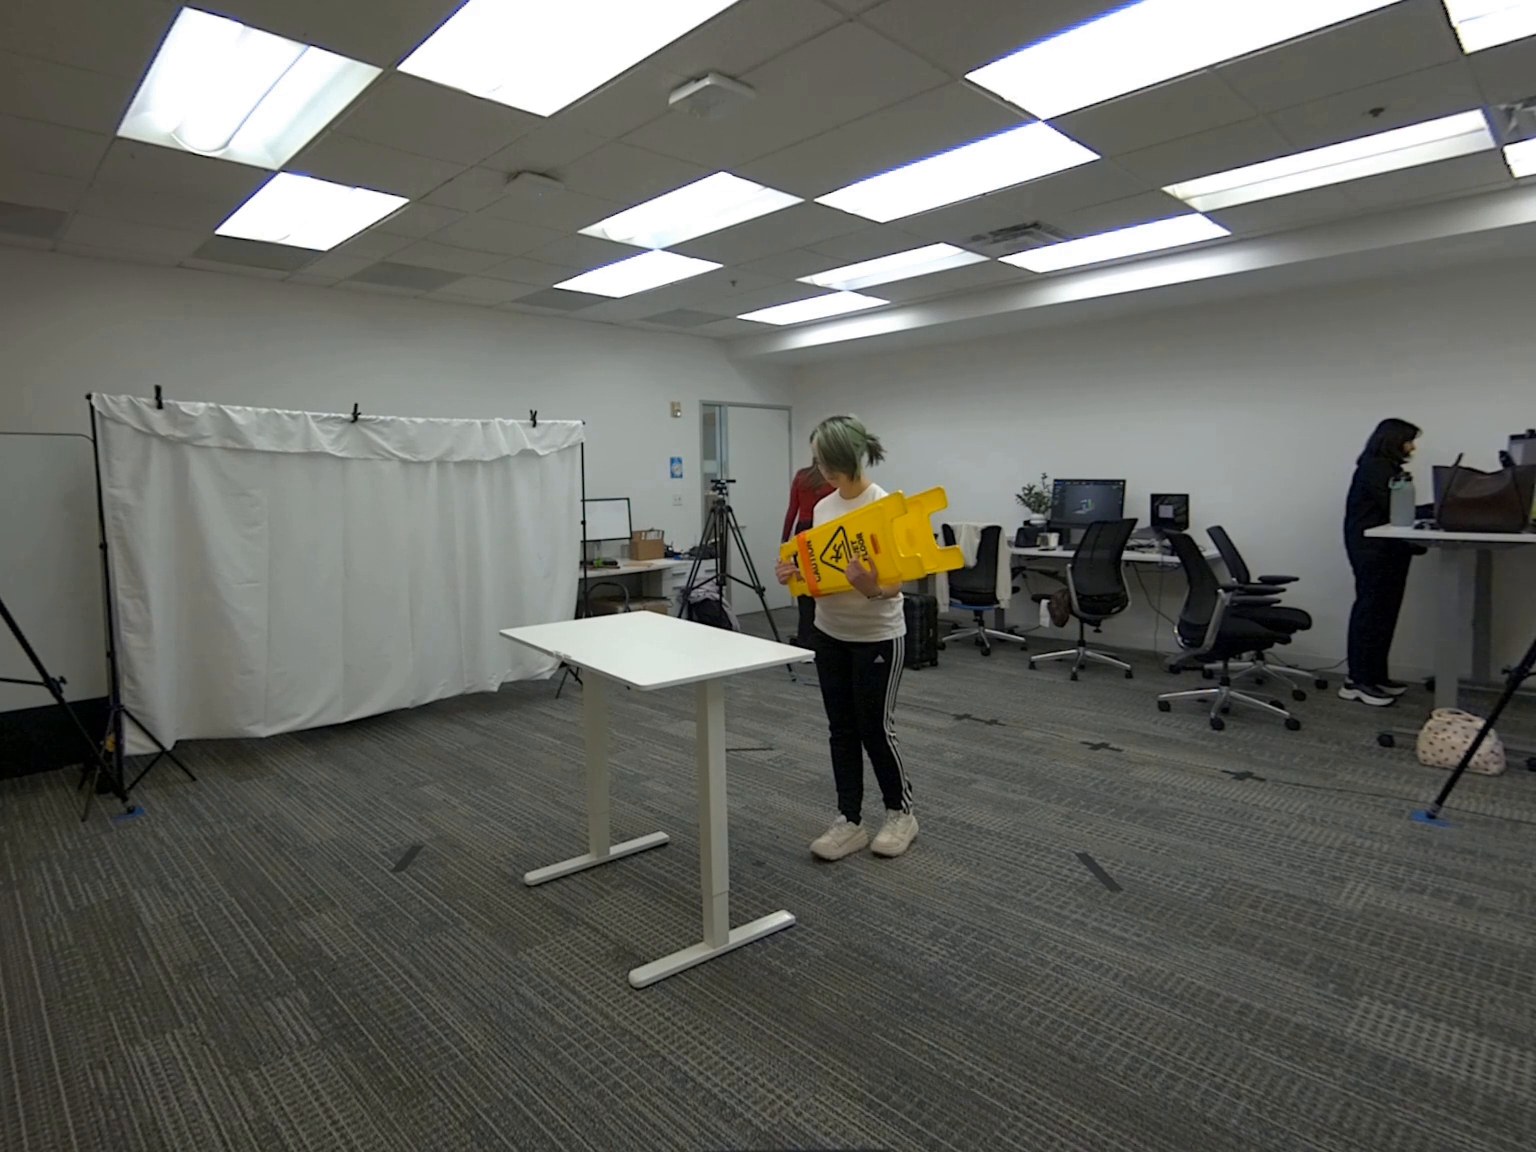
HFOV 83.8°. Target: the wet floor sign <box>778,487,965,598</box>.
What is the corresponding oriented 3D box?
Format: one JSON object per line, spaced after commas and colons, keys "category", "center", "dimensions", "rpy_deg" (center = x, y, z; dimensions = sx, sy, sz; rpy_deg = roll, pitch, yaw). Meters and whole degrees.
{"category": "wet floor sign", "center": [0.304, -0.078, 2.944], "dimensions": [0.658, 0.284, 0.282], "rpy_deg": [-17, -6, 43]}
